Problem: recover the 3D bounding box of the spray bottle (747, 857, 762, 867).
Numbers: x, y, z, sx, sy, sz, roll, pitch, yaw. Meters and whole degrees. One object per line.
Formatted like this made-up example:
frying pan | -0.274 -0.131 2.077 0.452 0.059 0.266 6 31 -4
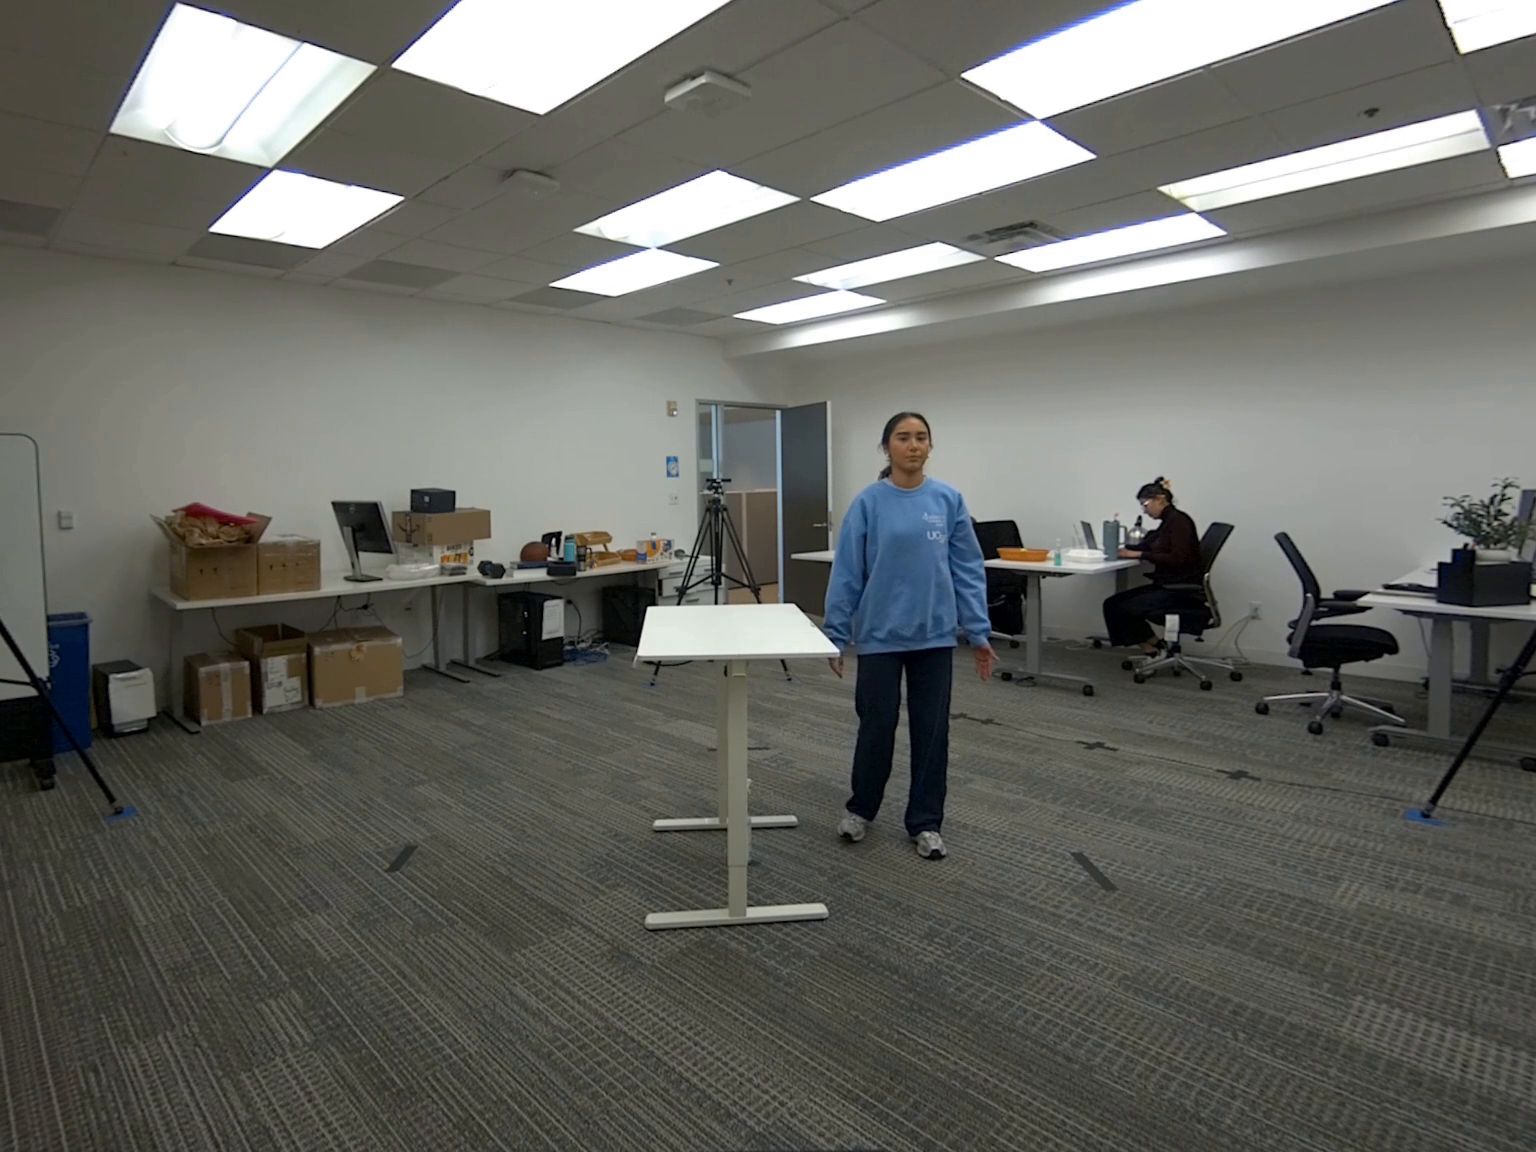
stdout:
spray bottle | -0.095 0.898 3.116 0.089 0.297 0.088 -1 1 -8
